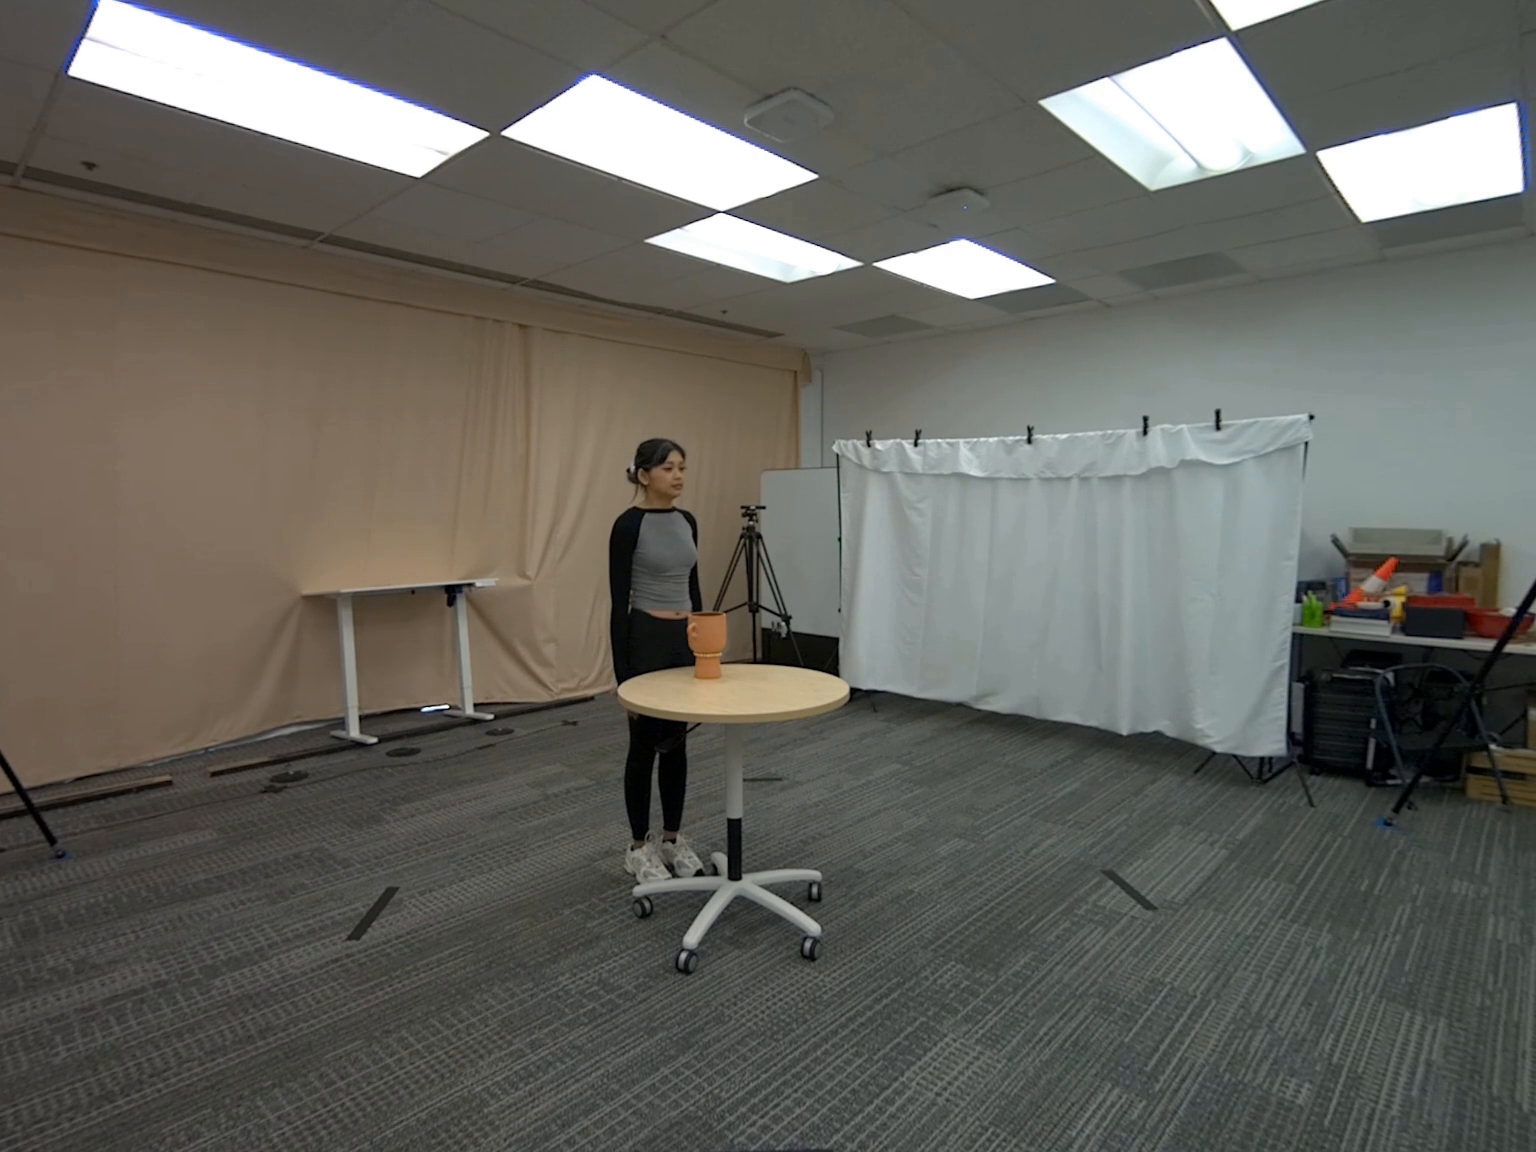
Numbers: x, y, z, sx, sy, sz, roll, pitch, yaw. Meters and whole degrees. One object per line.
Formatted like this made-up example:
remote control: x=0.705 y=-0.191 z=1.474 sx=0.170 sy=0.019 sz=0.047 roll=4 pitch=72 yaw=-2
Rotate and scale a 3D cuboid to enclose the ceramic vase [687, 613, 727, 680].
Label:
ceramic vase: x=-0.212 y=0.247 z=2.957 sx=0.157 sy=0.219 sz=0.136 roll=-2 pitch=4 yaw=-11
